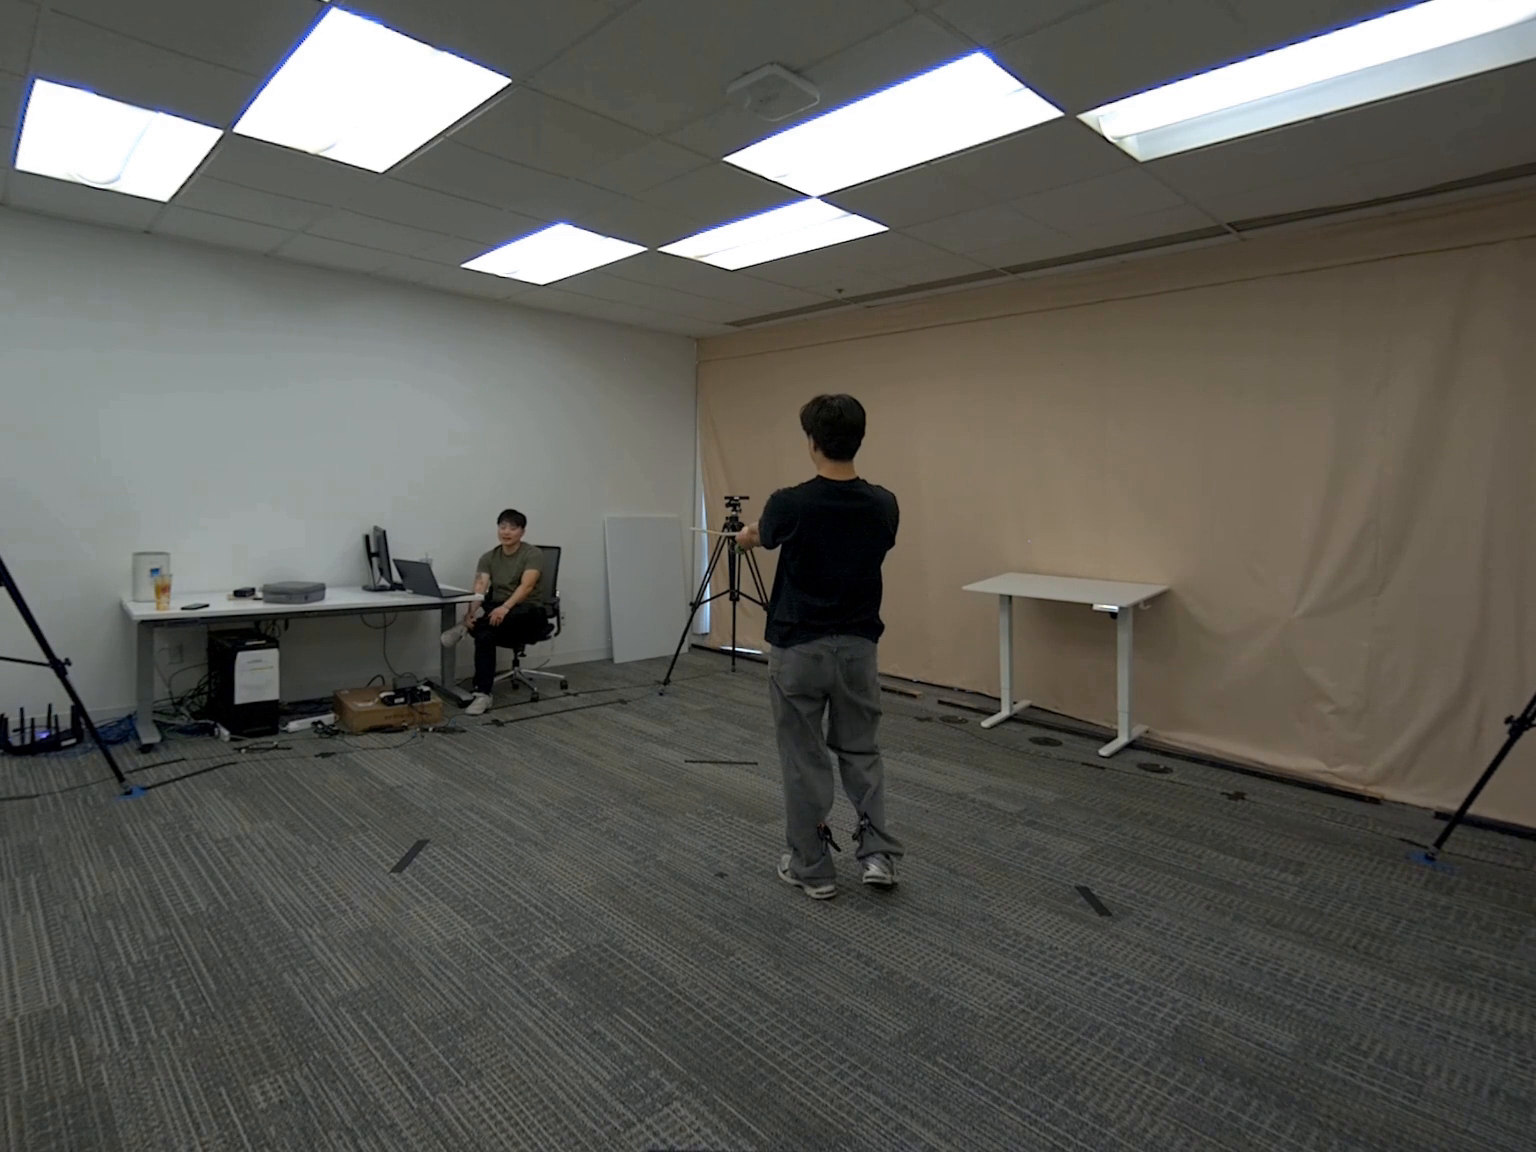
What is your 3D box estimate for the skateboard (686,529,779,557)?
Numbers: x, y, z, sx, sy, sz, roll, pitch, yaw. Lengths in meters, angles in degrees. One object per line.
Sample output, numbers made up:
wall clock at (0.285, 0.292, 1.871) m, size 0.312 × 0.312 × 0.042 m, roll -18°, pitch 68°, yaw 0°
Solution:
skateboard at (0.060, -0.142, 3.537) m, size 0.779 × 0.110 × 0.195 m, roll 0°, pitch 2°, yaw -10°
